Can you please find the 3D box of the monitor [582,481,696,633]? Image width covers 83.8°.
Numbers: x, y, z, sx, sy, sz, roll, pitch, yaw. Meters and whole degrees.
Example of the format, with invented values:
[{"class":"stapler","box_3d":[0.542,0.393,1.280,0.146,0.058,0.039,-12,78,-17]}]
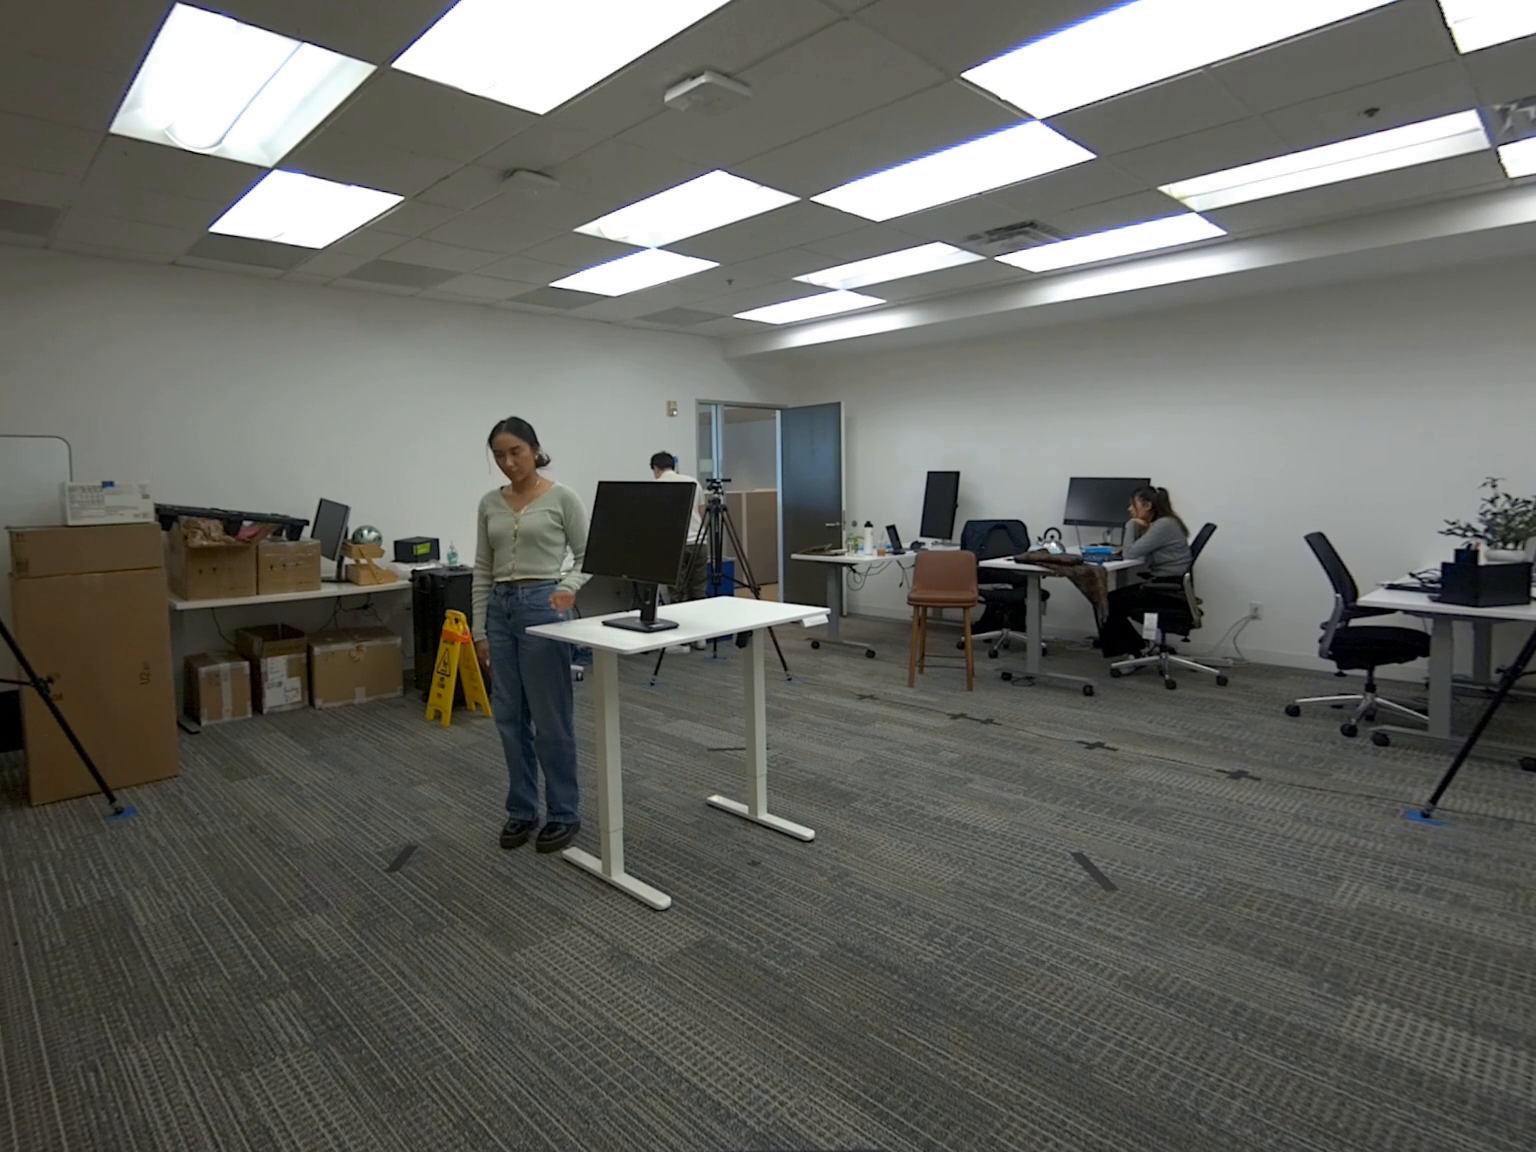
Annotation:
[{"class":"monitor","box_3d":[-0.442,-0.073,3.029,0.556,0.521,0.182,5,5,42]}]
